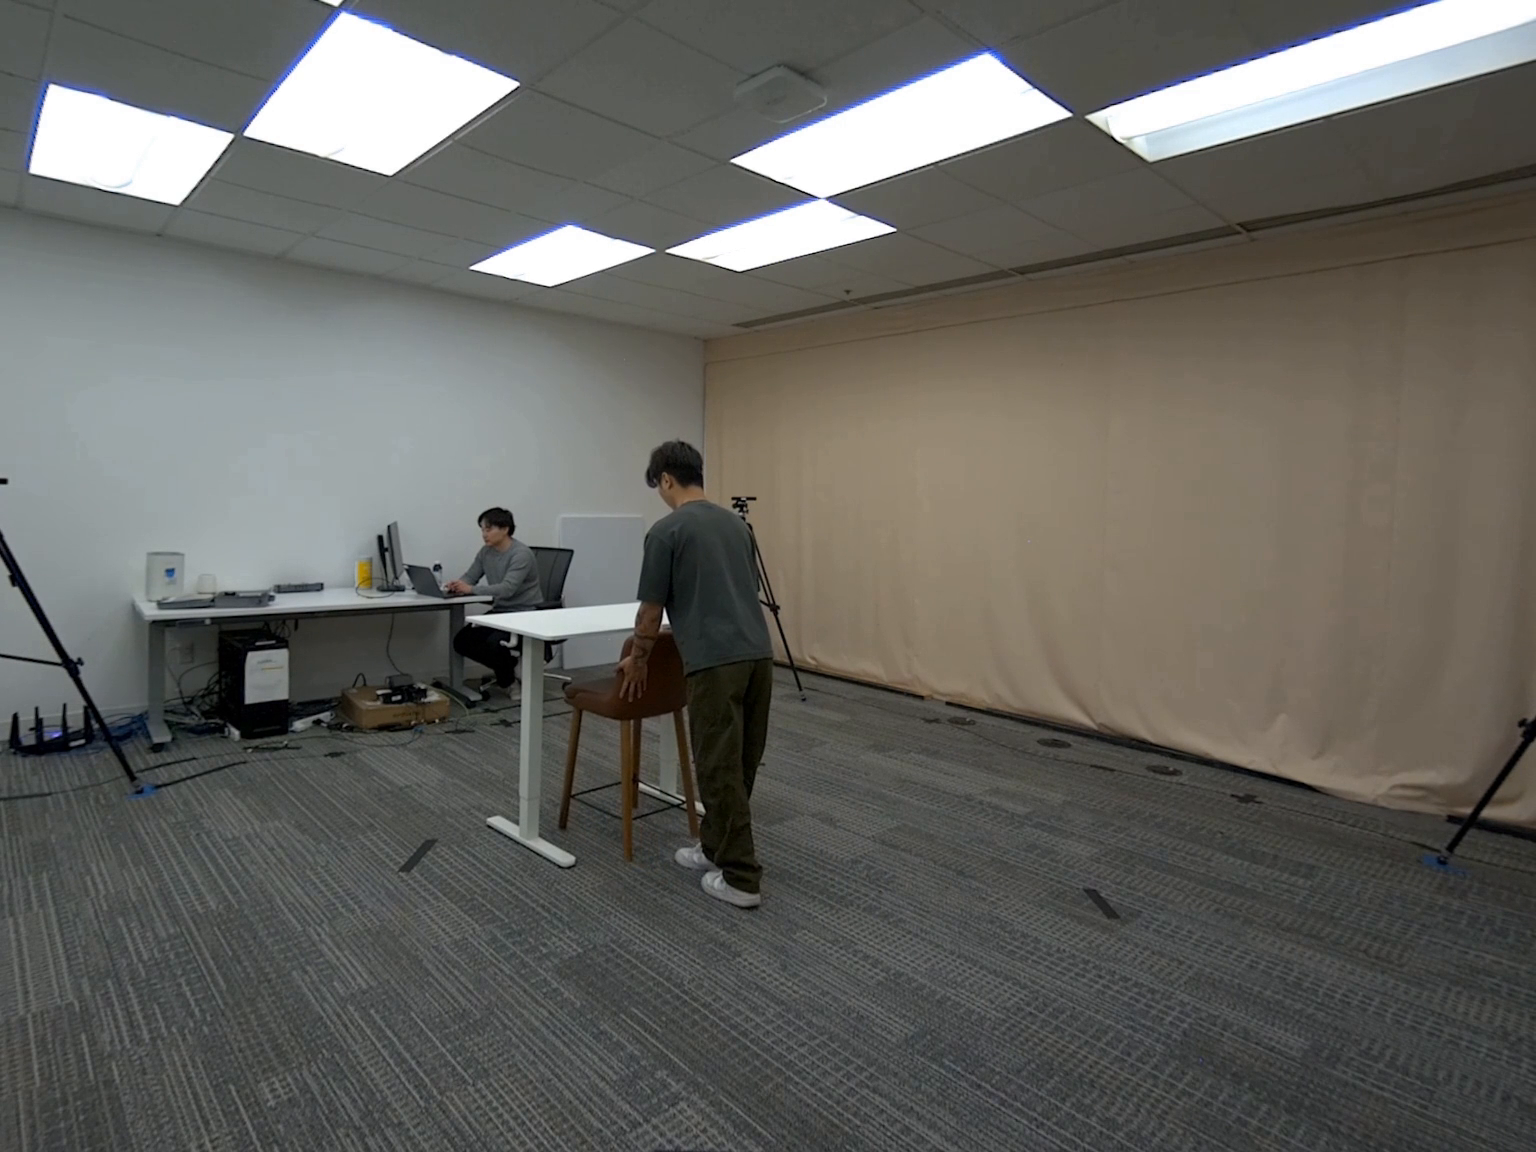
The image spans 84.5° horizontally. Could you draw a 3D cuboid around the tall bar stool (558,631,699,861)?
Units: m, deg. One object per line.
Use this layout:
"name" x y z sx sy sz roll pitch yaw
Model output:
"tall bar stool" -0.560 0.627 3.459 0.480 0.887 0.446 9 7 44
